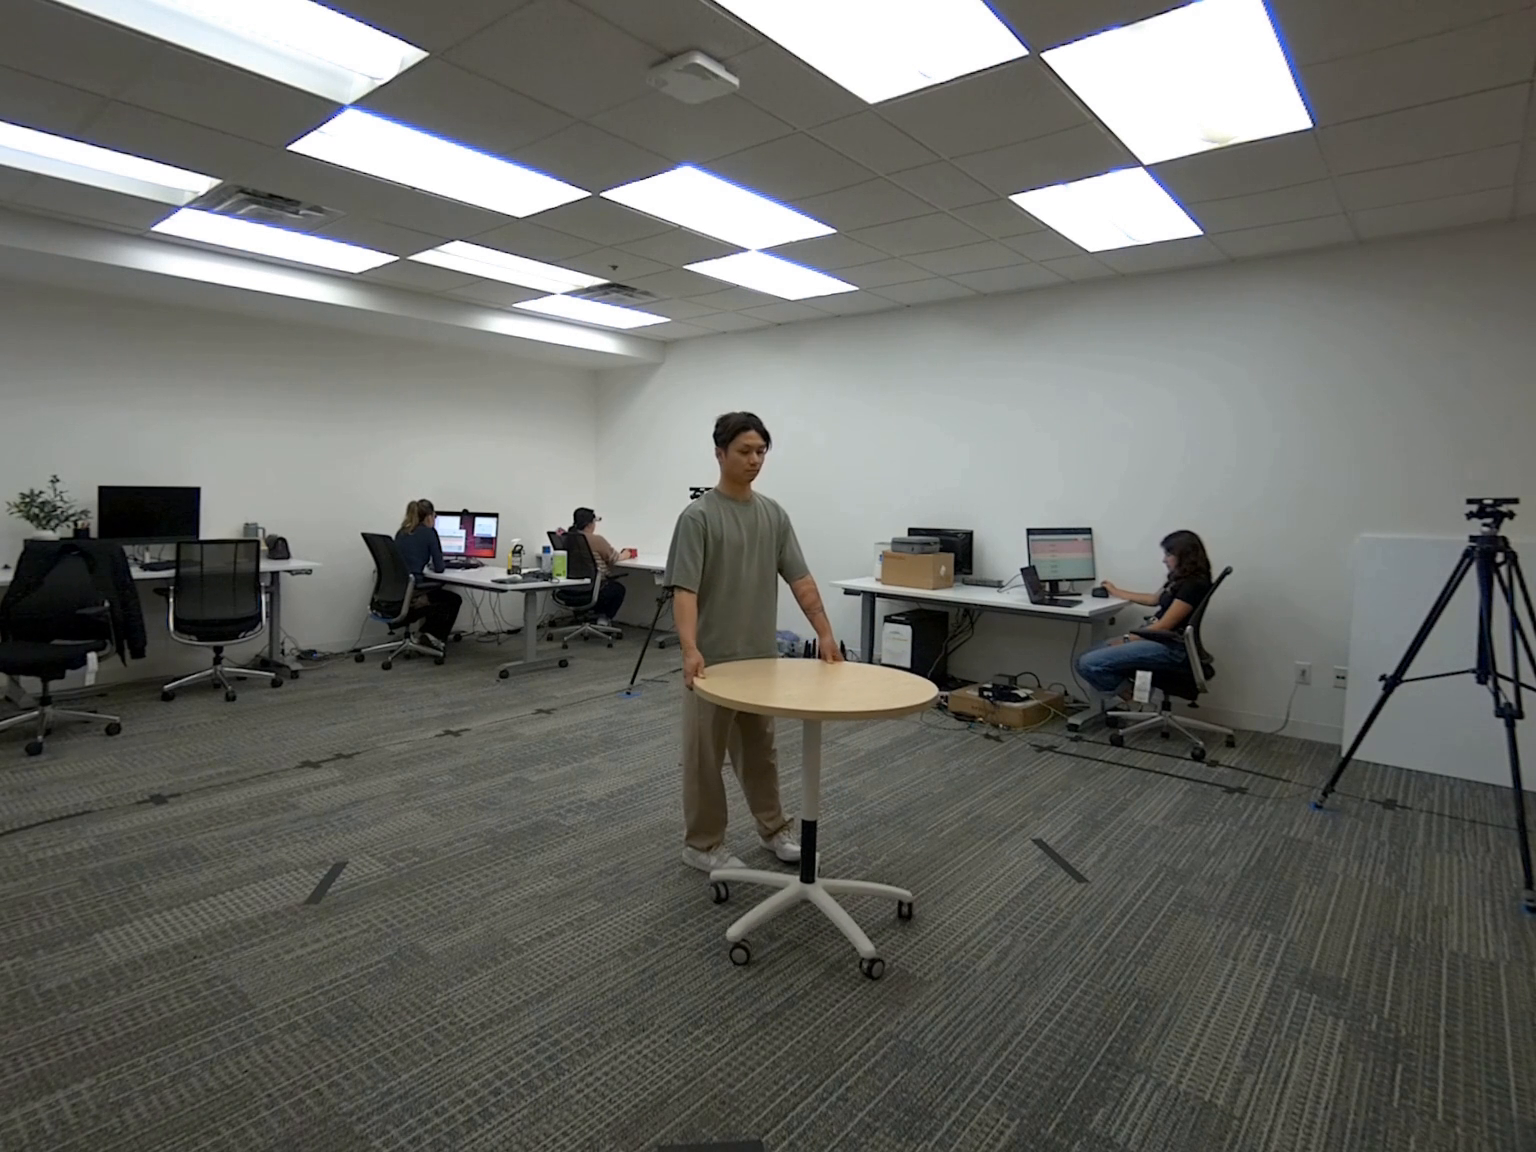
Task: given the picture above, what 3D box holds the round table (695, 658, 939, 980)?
[{"bbox_3d":[0.133,0.717,2.699,0.784,0.784,0.788,1,4,-2],"label":"round table"}]
